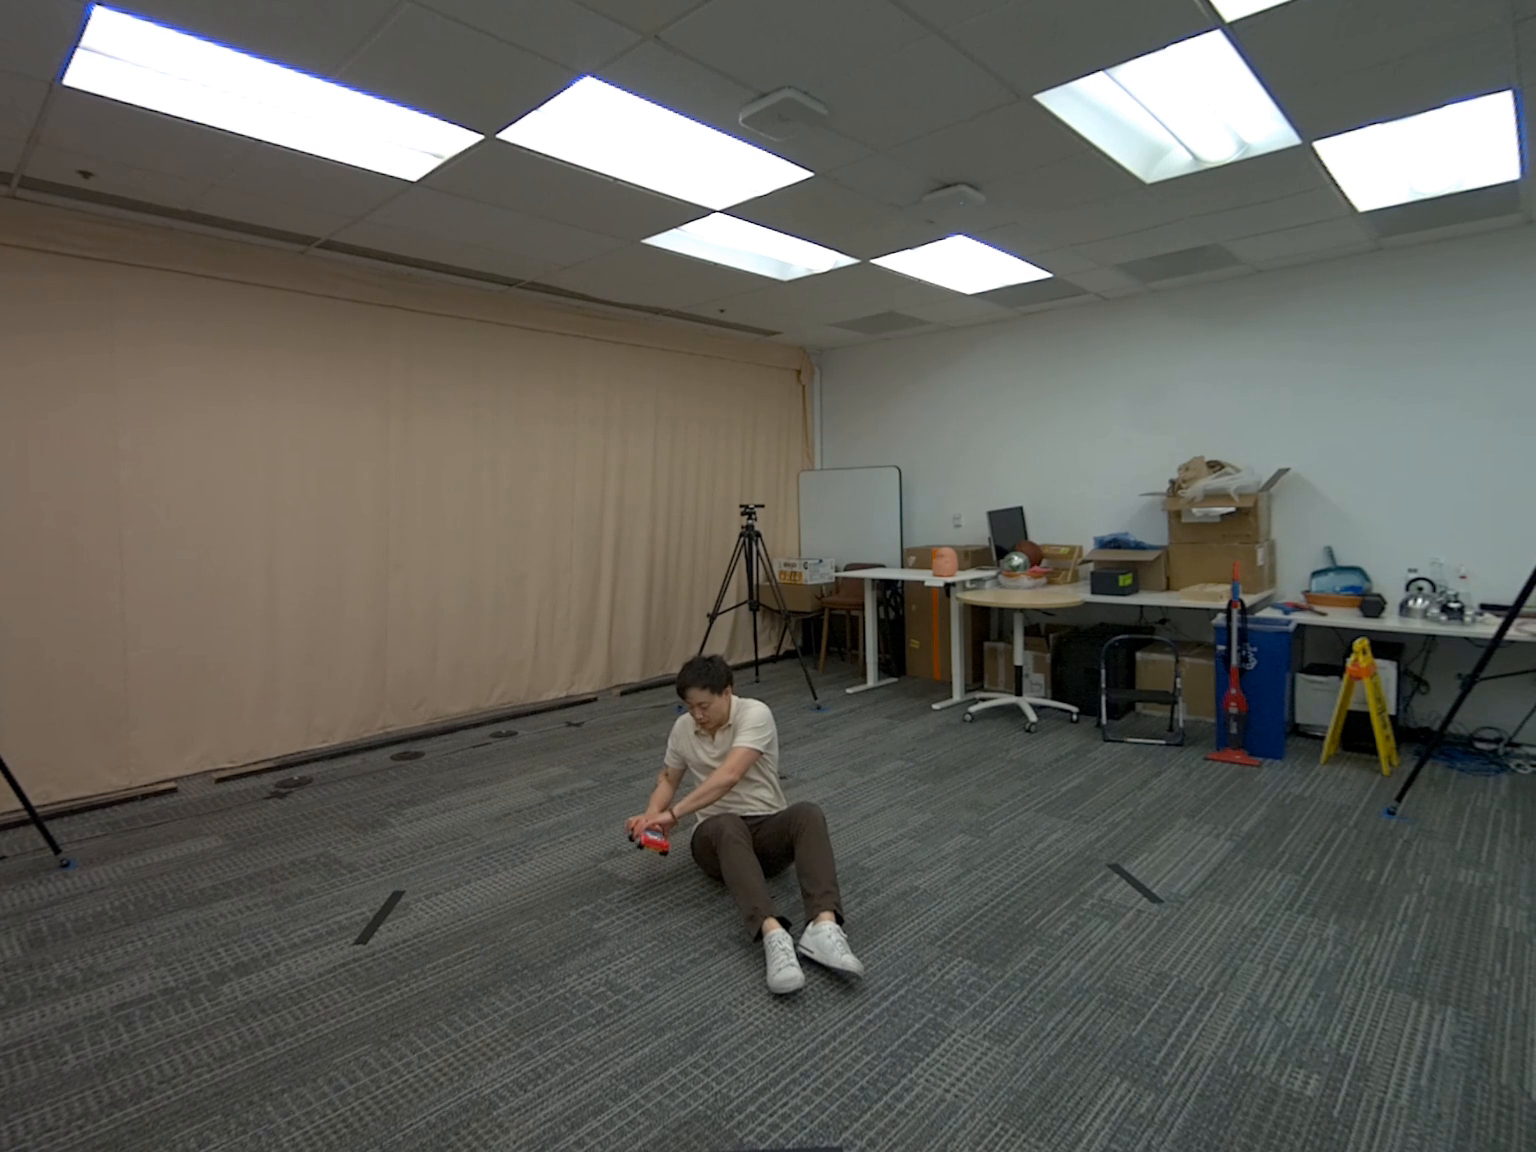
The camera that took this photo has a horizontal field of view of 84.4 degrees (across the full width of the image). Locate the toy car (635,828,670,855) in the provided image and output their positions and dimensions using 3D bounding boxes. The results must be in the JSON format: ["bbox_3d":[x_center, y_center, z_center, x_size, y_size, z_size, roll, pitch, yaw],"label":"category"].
[{"bbox_3d":[-0.413,0.929,2.999,0.128,0.083,0.259,23,1,-16],"label":"toy car"}]
